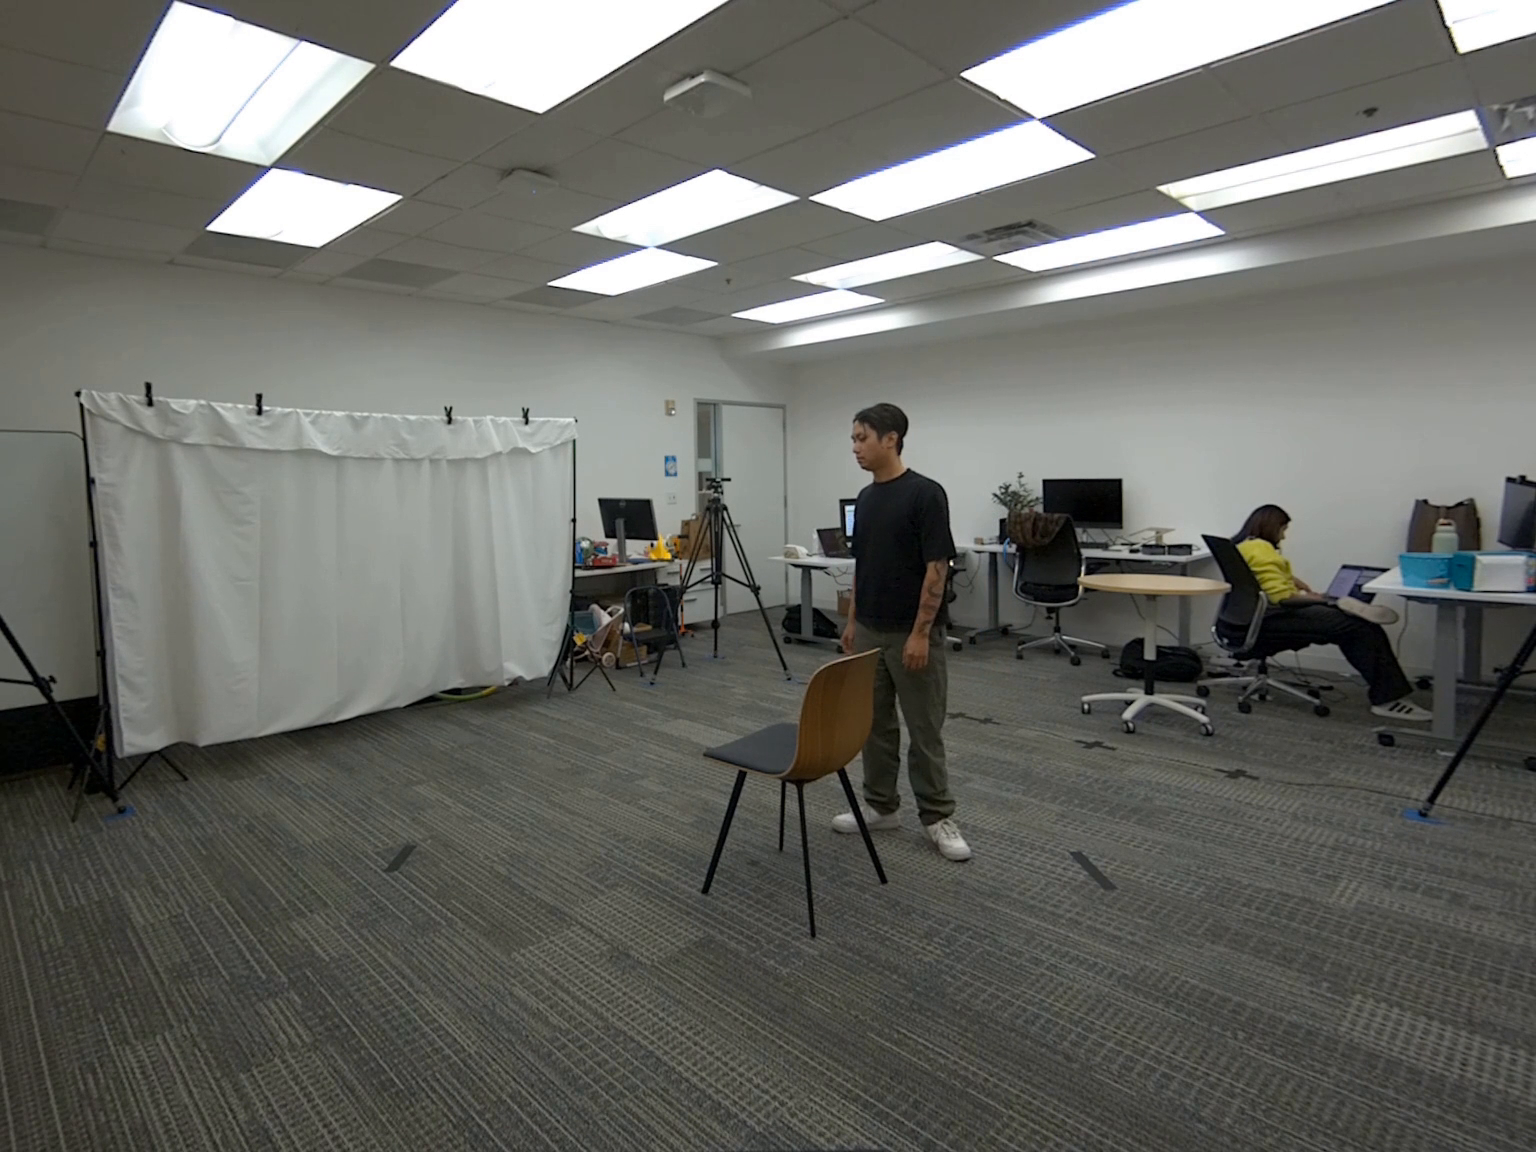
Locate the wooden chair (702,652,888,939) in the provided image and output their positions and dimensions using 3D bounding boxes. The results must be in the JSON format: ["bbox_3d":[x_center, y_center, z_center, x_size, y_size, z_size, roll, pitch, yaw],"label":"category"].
[{"bbox_3d":[0.080,0.637,2.878,0.540,0.872,0.466,8,9,38],"label":"wooden chair"}]
